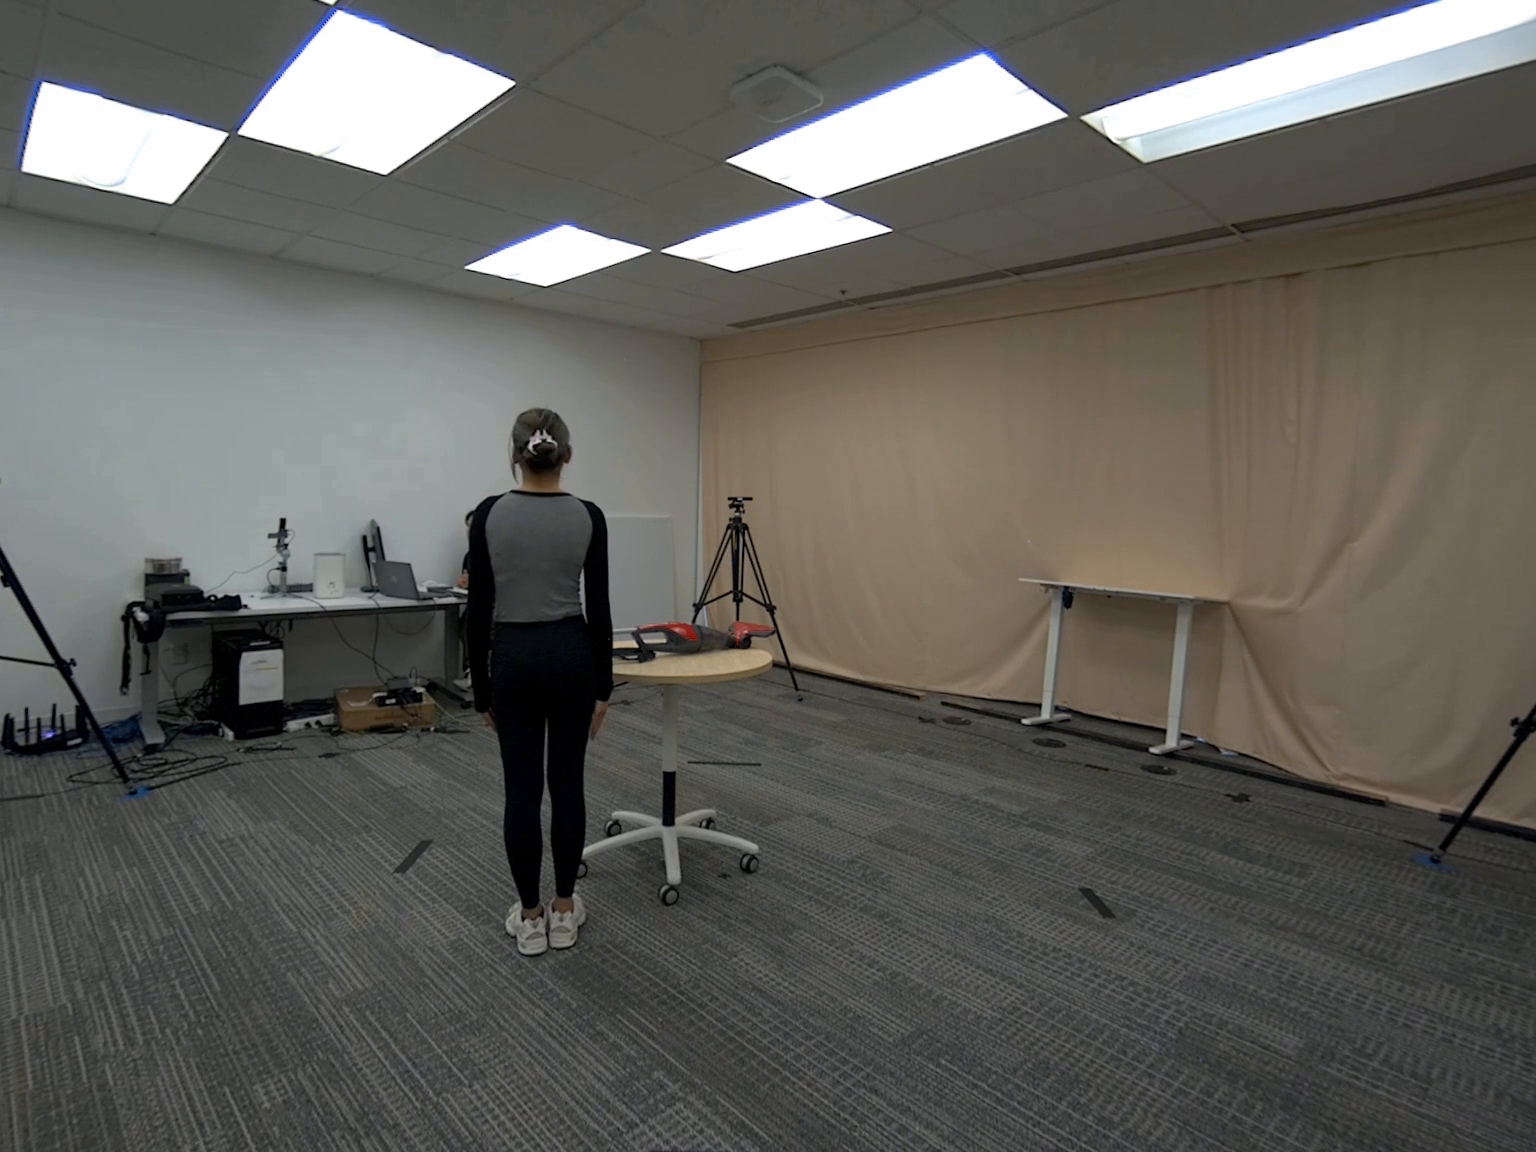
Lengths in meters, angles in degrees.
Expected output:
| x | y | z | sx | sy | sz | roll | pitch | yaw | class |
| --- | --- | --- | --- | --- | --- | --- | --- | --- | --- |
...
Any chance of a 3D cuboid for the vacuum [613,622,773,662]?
| x | y | z | sx | sy | sz | roll | pitch | yaw | class |
| --- | --- | --- | --- | --- | --- | --- | --- | --- | --- |
| -0.485 | 0.260 | 3.095 | 1.025 | 0.143 | 0.259 | -1 | 6 | -42 | vacuum |
